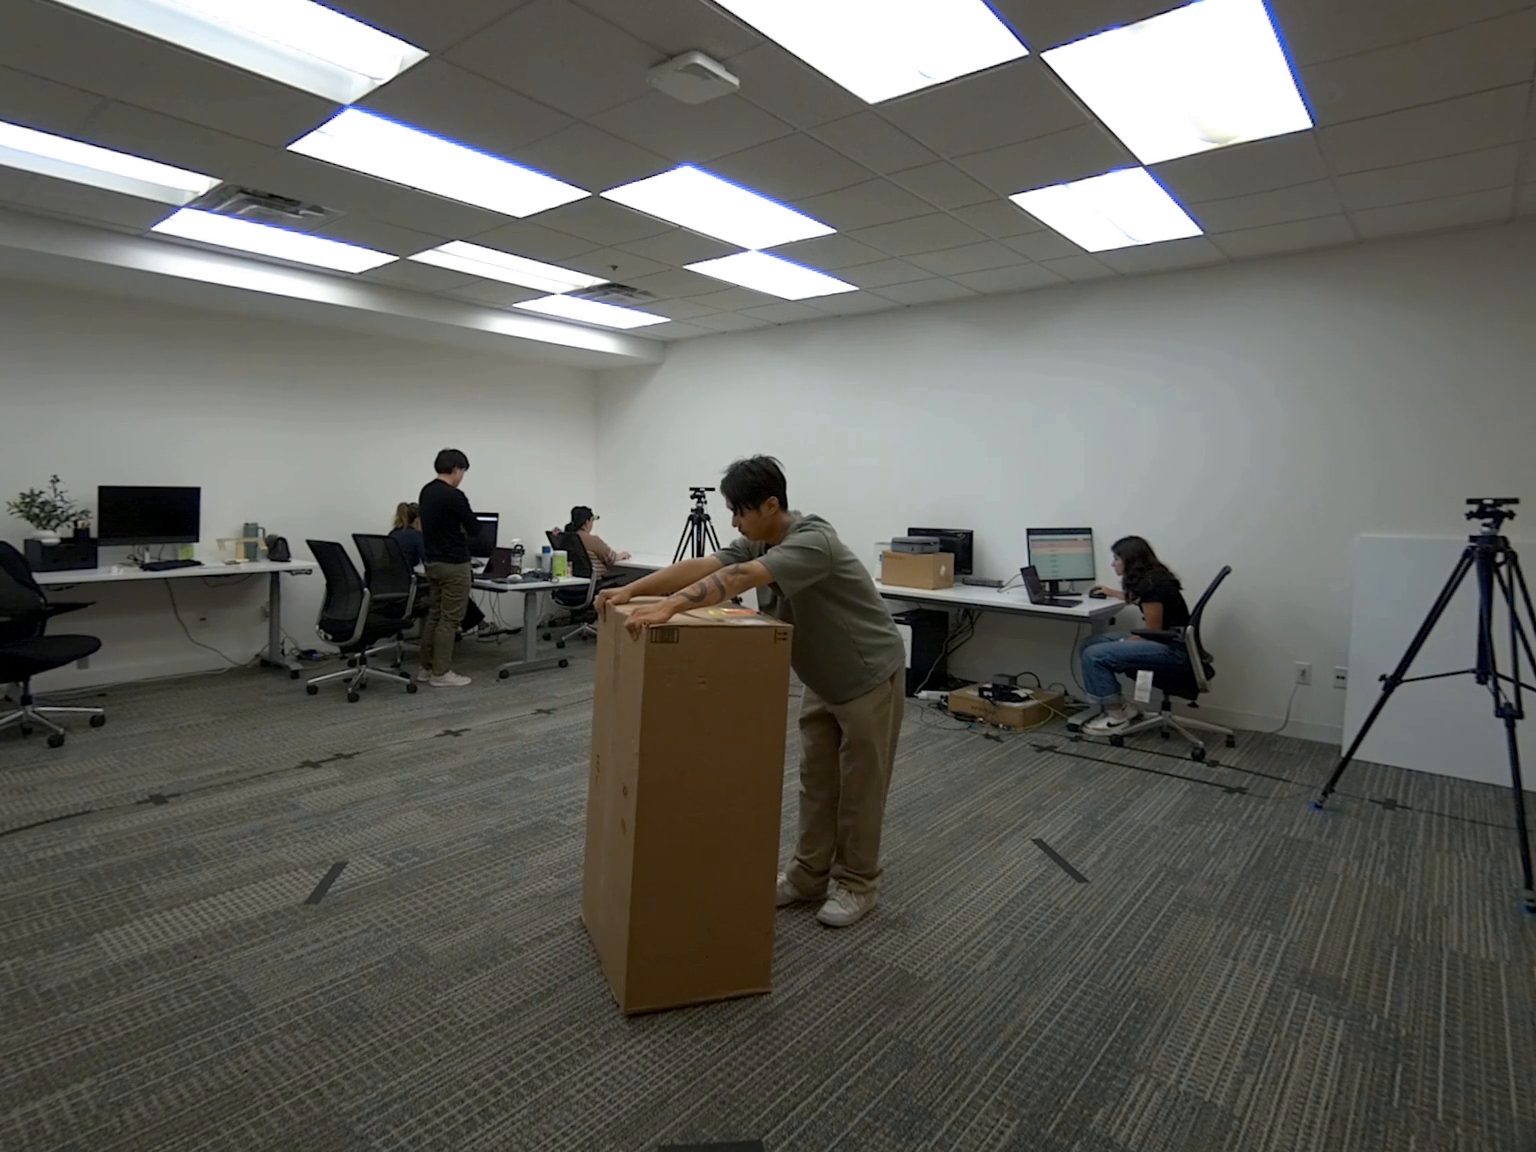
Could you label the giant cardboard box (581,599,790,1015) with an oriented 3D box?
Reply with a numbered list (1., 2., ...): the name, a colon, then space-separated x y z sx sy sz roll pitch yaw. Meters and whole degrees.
1. giant cardboard box: -0.273 0.605 2.528 0.417 1.024 0.592 2 2 -23
